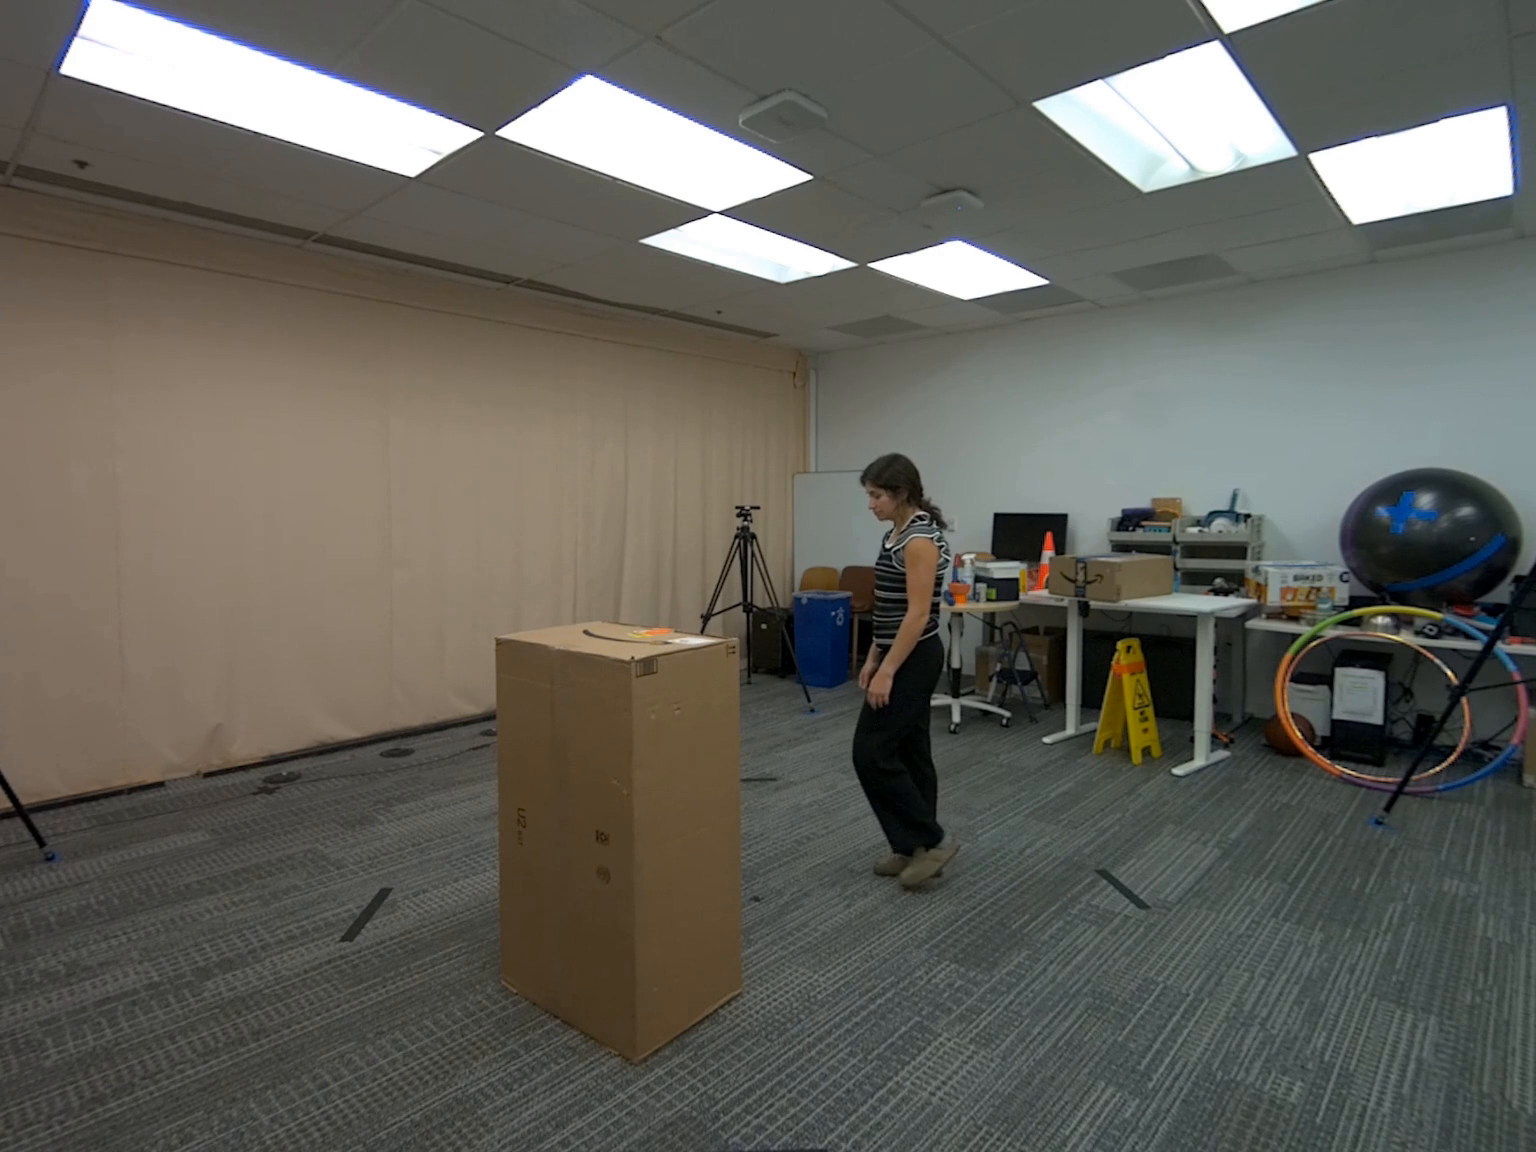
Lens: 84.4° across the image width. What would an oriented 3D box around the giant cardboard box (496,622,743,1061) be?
[{"bbox_3d":[-0.430,0.688,2.416,0.596,1.024,0.413,2,4,39],"label":"giant cardboard box"}]
